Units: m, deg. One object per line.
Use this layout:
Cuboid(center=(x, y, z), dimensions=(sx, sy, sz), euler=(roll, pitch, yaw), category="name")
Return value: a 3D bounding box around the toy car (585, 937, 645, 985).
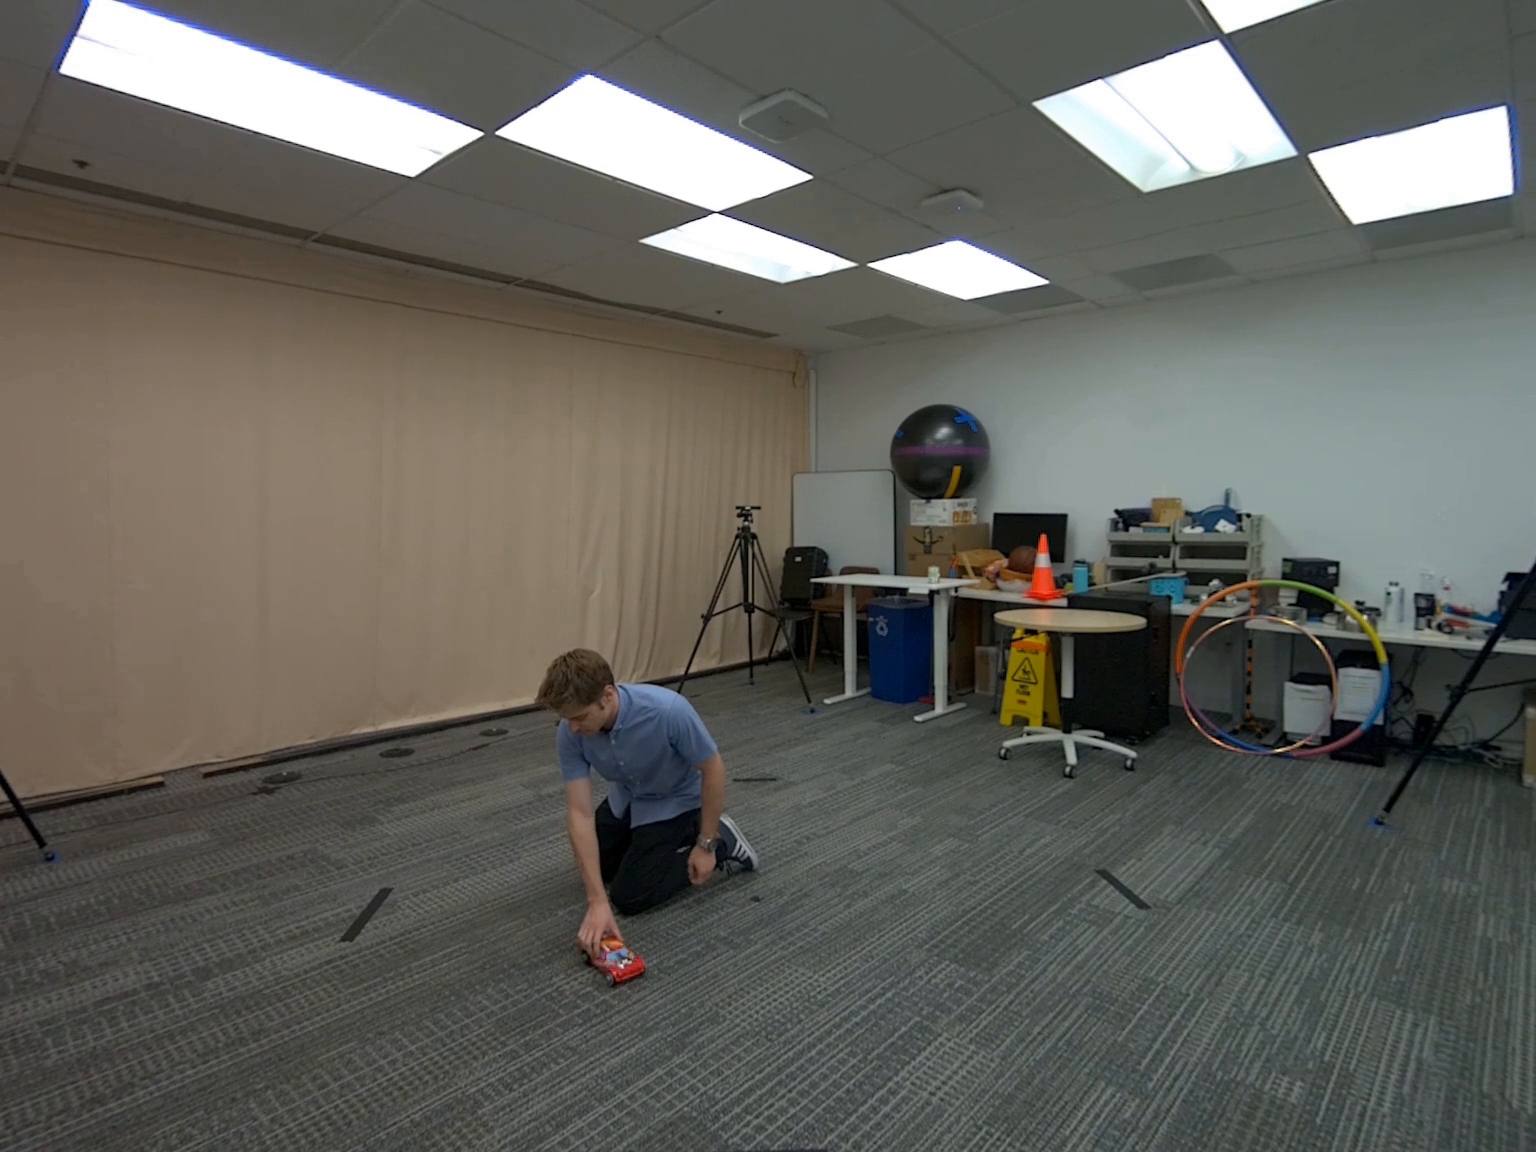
Cuboid(center=(-0.491, 1.146, 2.548), dimensions=(0.126, 0.083, 0.264), euler=(-5, 16, -39), category="toy car")
